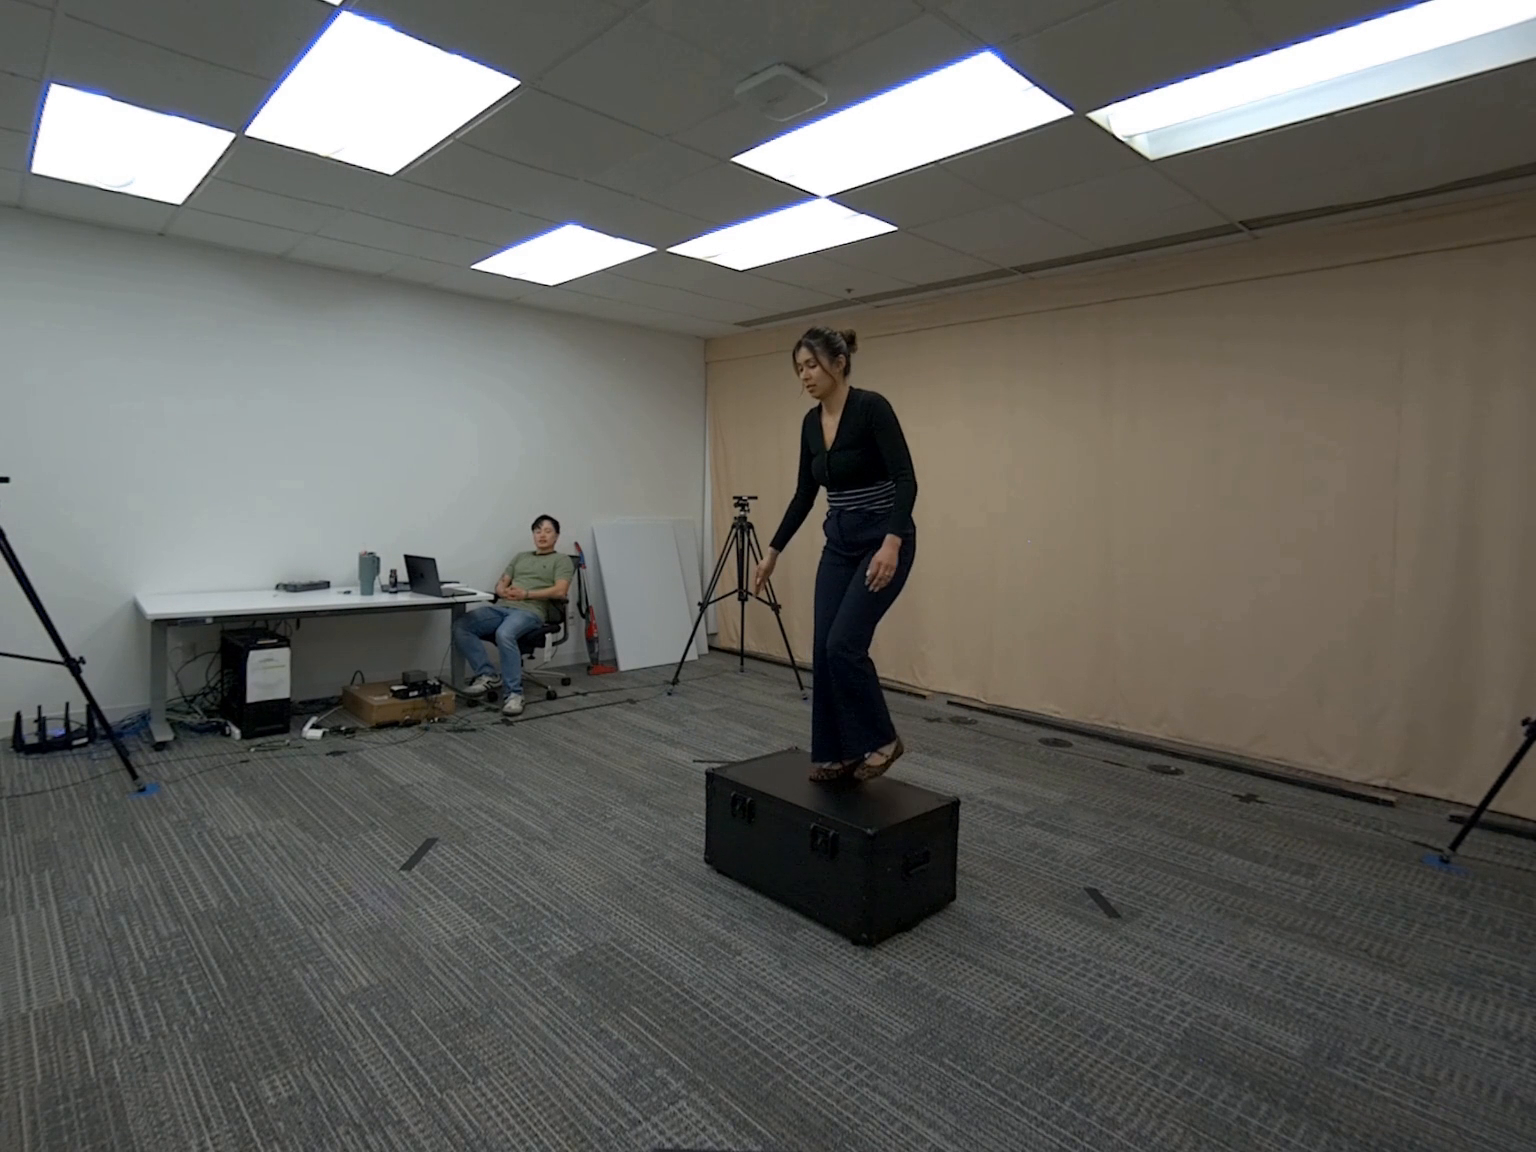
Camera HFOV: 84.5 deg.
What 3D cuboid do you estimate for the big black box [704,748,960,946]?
[{"bbox_3d":[0.219,0.931,2.991,0.509,0.395,0.883,-3,6,-43],"label":"big black box"}]
